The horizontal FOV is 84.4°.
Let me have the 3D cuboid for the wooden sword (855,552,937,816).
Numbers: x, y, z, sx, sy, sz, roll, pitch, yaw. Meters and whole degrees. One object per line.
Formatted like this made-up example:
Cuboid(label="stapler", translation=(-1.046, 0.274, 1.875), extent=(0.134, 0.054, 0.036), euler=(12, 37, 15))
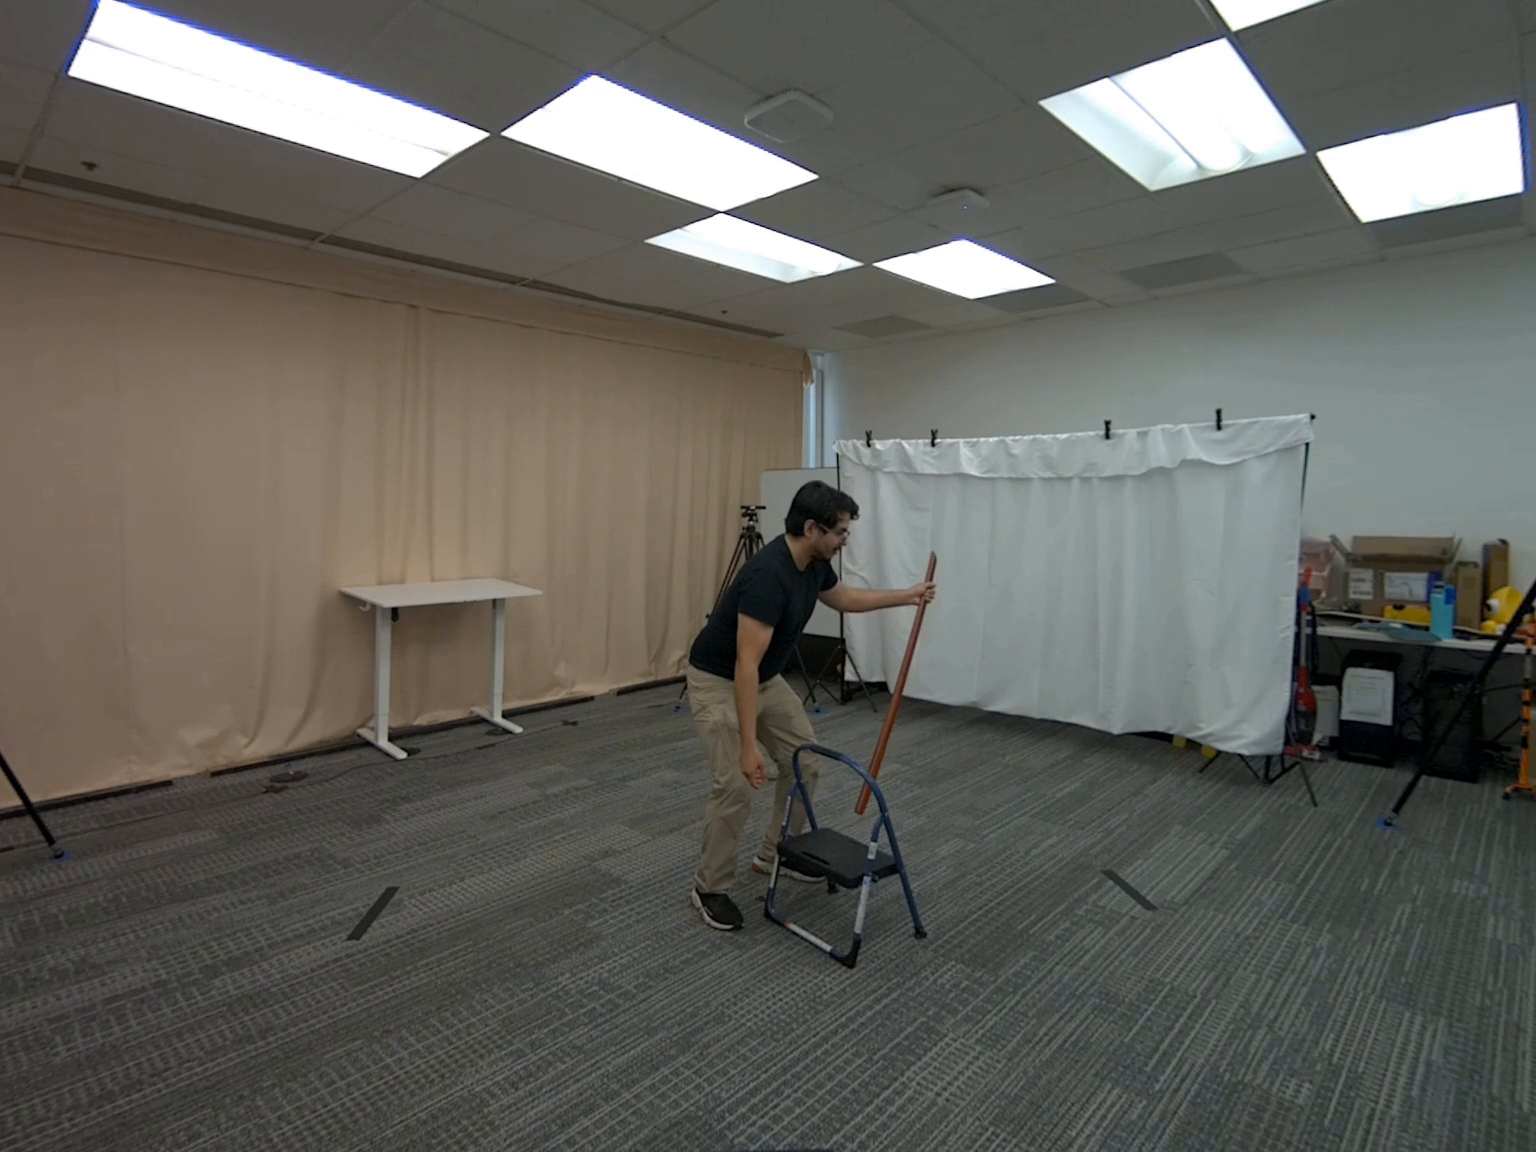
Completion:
Cuboid(label="wooden sword", translation=(0.496, 0.381, 3.068), extent=(0.050, 1.028, 0.024), euler=(30, -22, -24))
